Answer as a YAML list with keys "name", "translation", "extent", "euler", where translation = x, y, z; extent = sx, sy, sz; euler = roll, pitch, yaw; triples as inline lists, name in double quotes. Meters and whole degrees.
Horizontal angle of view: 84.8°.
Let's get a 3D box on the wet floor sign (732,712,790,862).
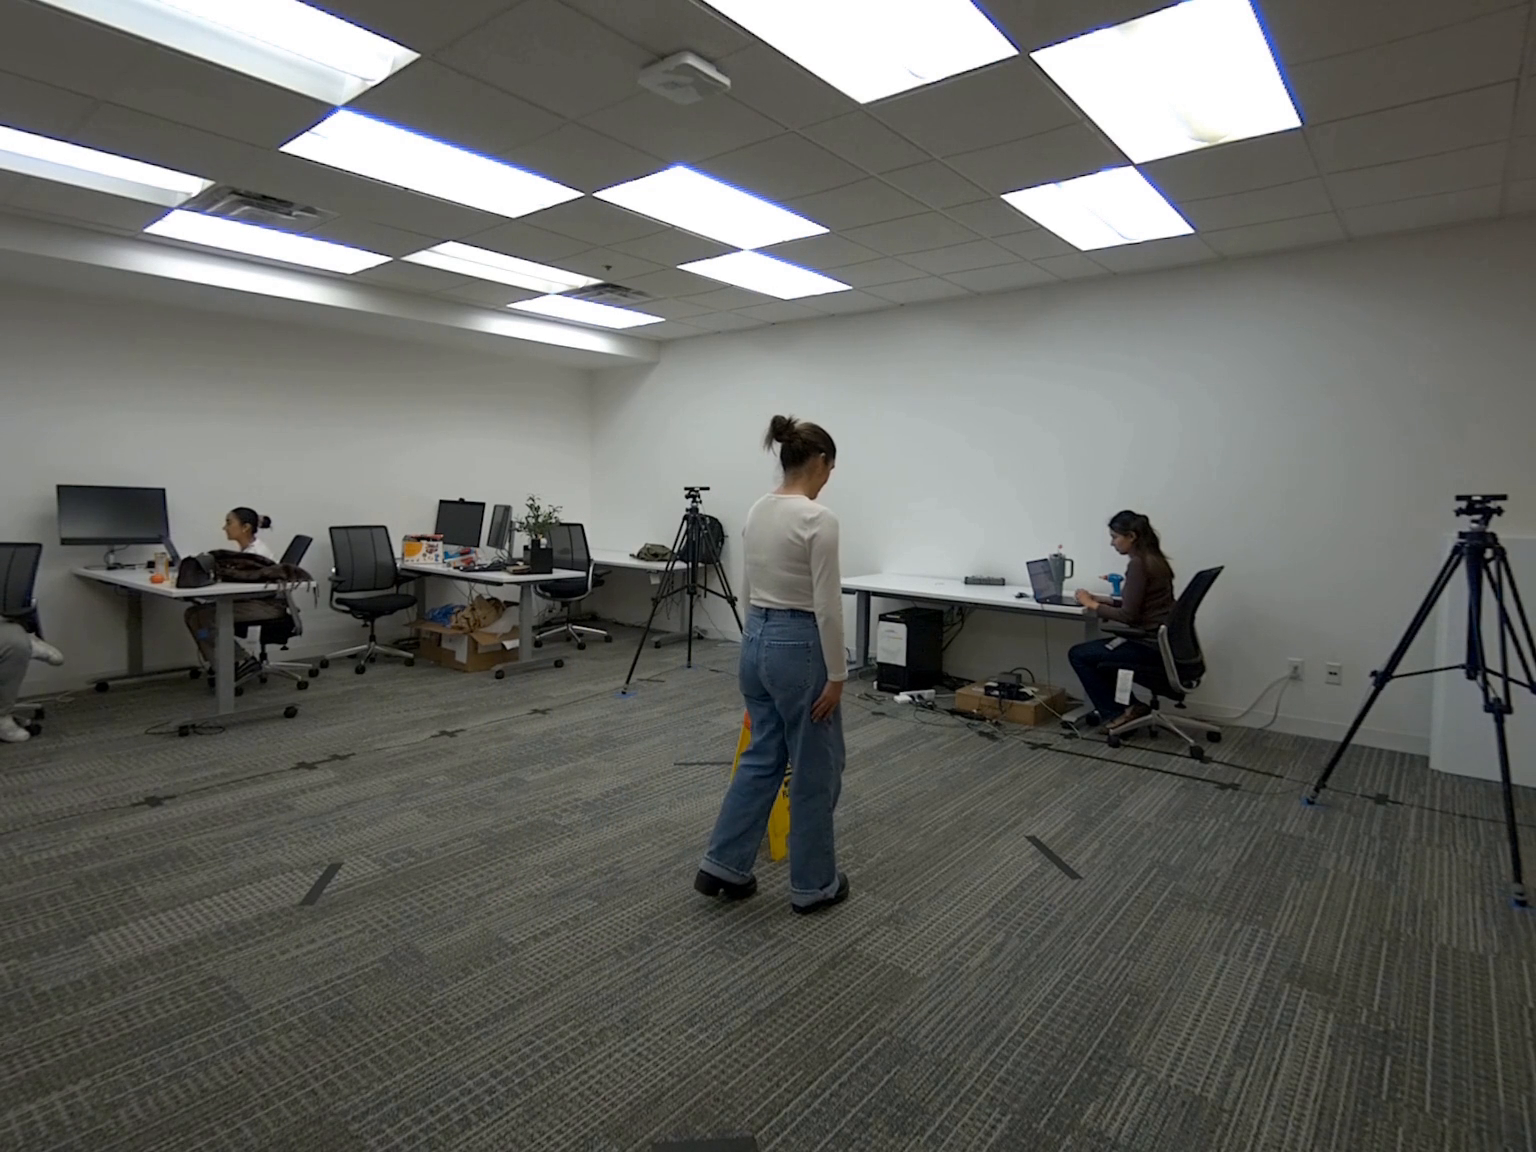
- name: "wet floor sign"
  translation: [0.003, 0.715, 3.351]
  extent: [0.299, 0.644, 0.274]
  euler: [4, 5, 39]
